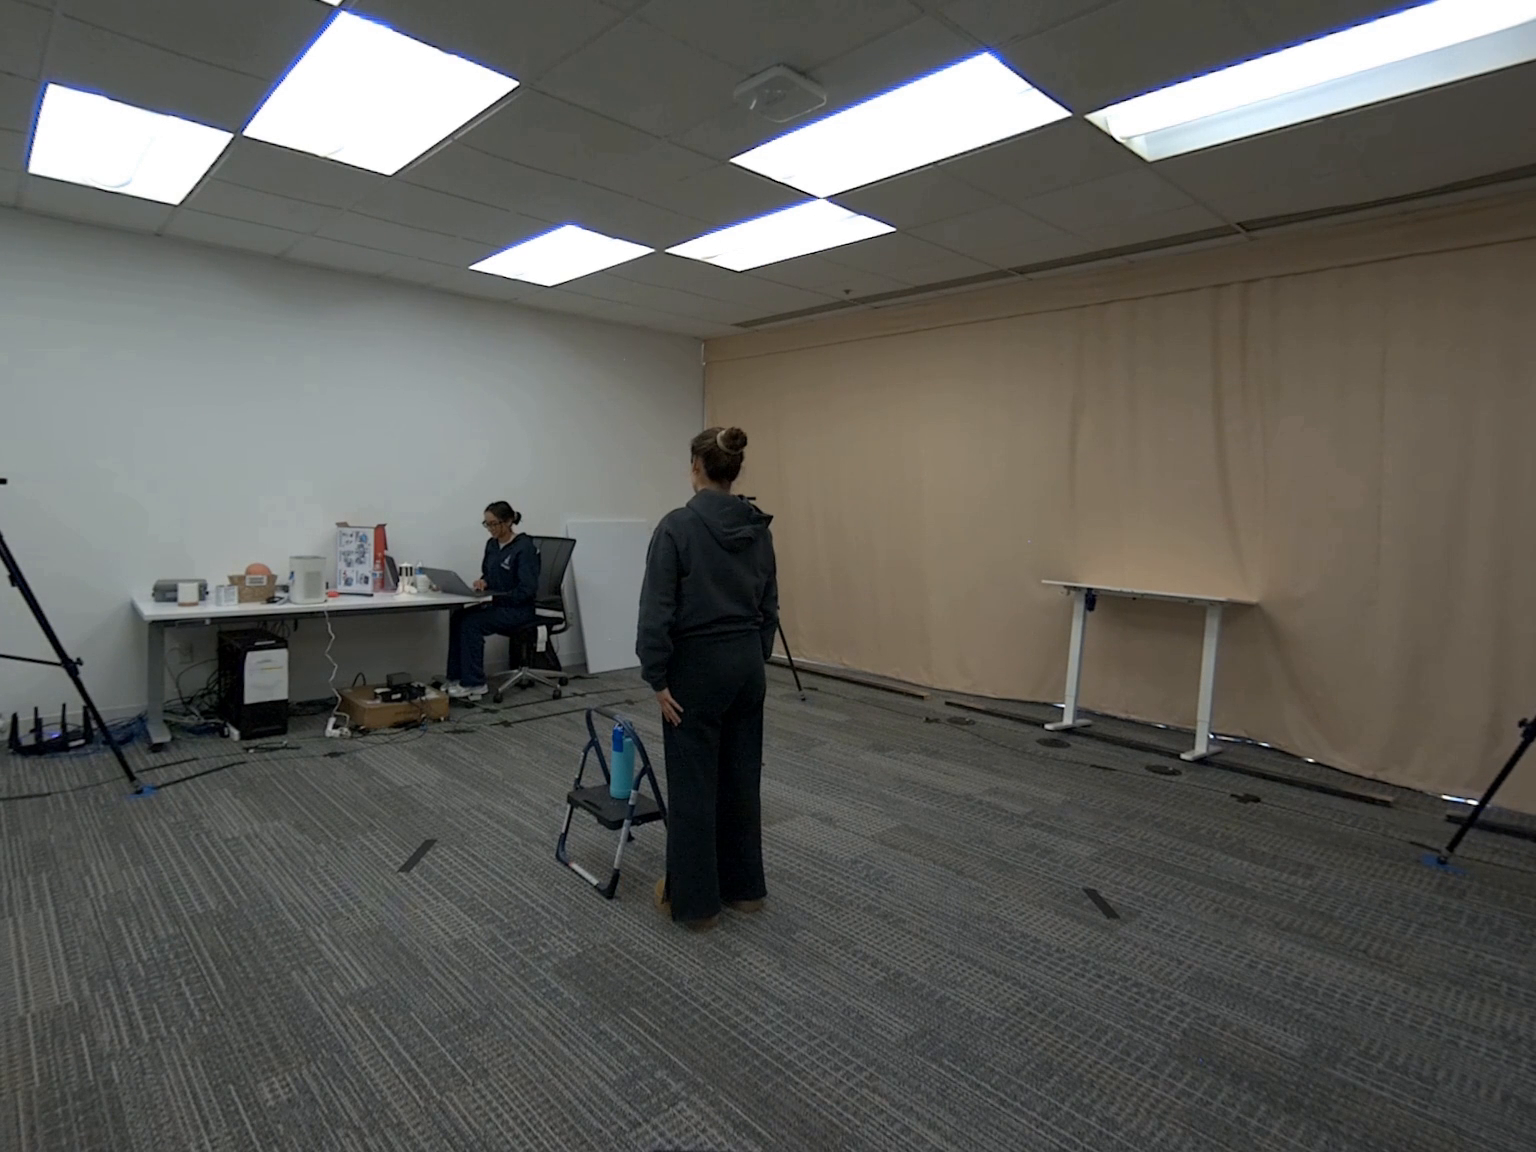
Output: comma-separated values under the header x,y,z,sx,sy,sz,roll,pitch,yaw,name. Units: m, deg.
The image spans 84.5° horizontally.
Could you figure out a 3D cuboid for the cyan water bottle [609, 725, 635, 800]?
x,y,z,sx,sy,sz,roll,pitch,yaw,name
-0.559,0.690,3.181,0.092,0.283,0.092,3,3,-2,cyan water bottle
